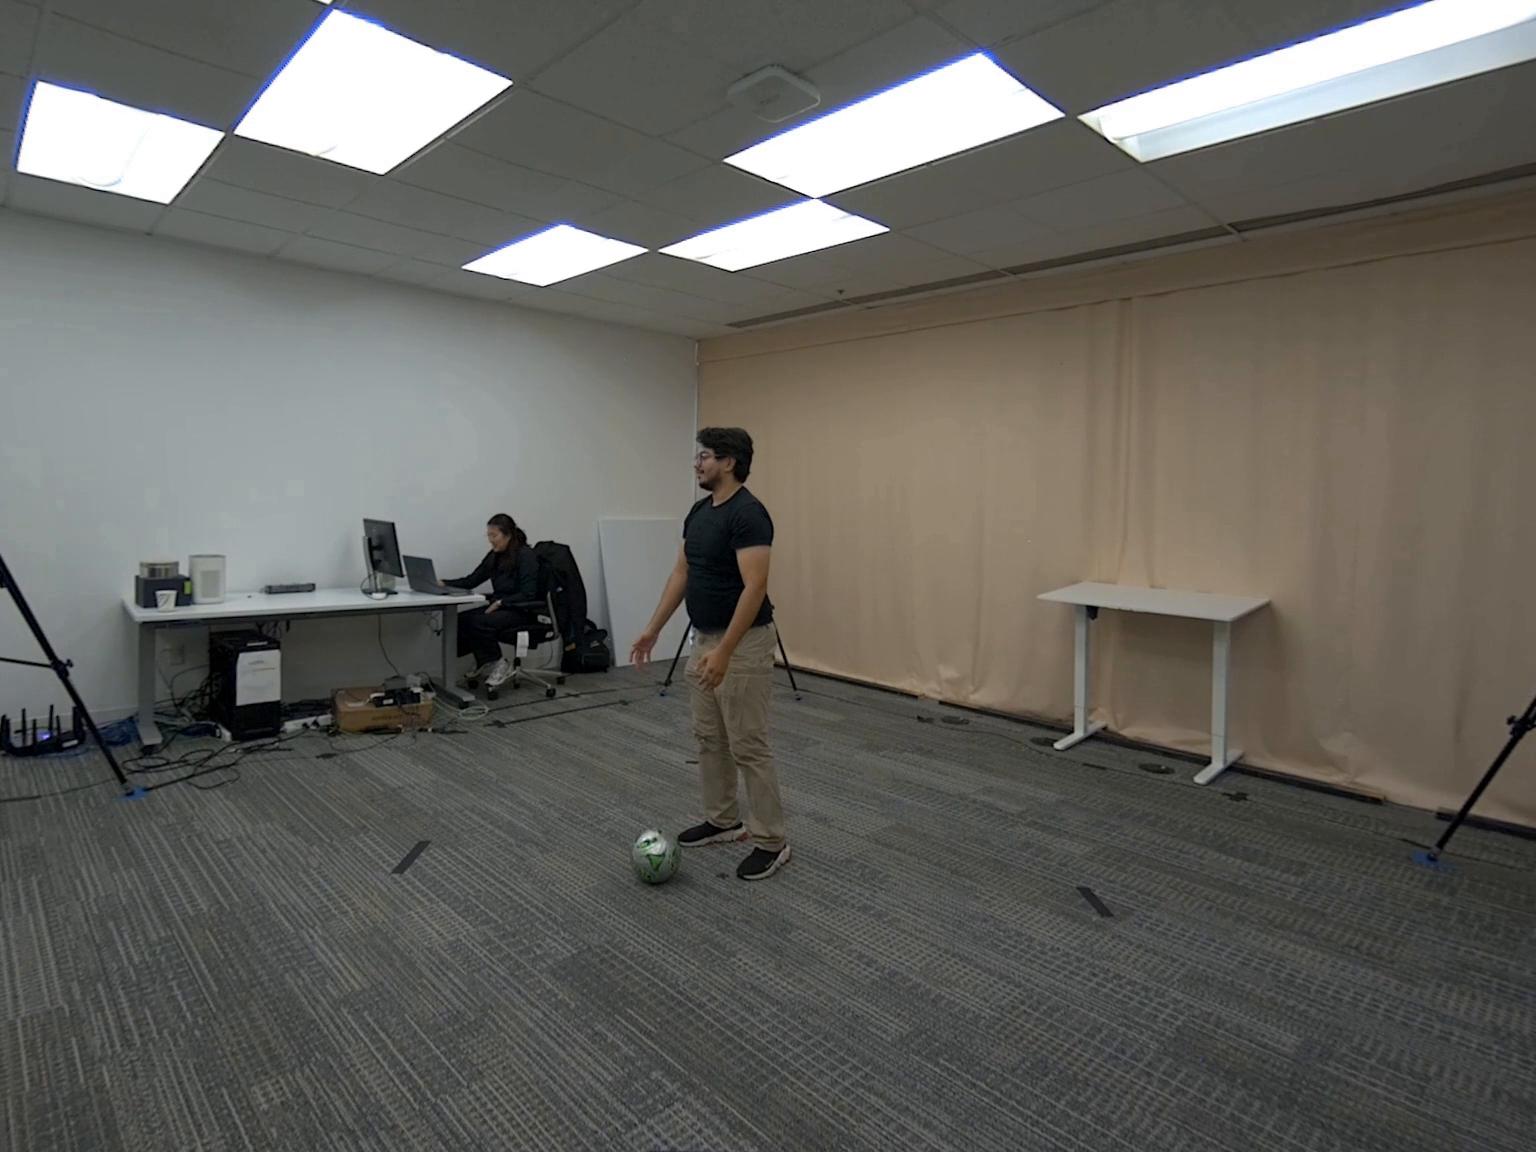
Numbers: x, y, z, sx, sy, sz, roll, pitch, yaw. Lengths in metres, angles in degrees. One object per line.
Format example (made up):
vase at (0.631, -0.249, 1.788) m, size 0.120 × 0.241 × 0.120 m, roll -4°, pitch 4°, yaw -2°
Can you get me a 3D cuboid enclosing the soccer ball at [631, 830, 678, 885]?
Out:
soccer ball at (-0.410, 1.011, 3.051) m, size 0.187 × 0.187 × 0.188 m, roll 1°, pitch 4°, yaw -1°
